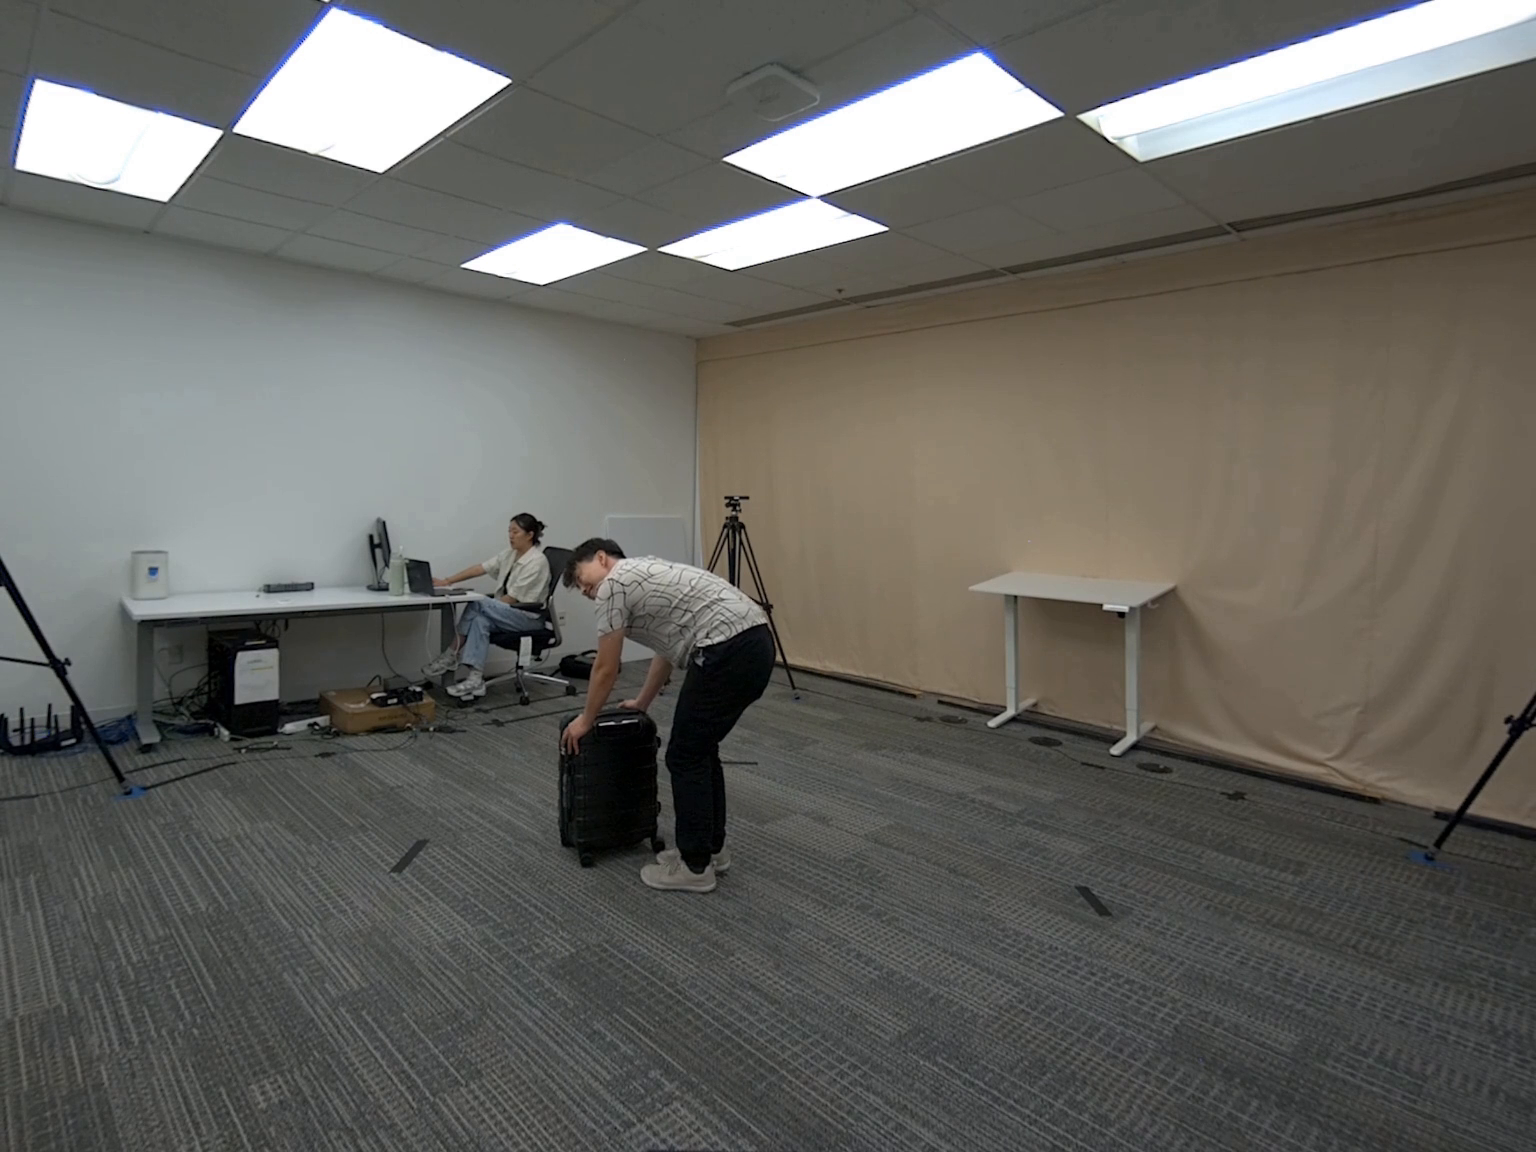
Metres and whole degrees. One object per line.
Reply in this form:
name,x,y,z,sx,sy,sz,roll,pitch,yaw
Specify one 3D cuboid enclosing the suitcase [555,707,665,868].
suitcase,-0.637,0.801,3.298,0.368,0.548,0.254,-2,4,-29
